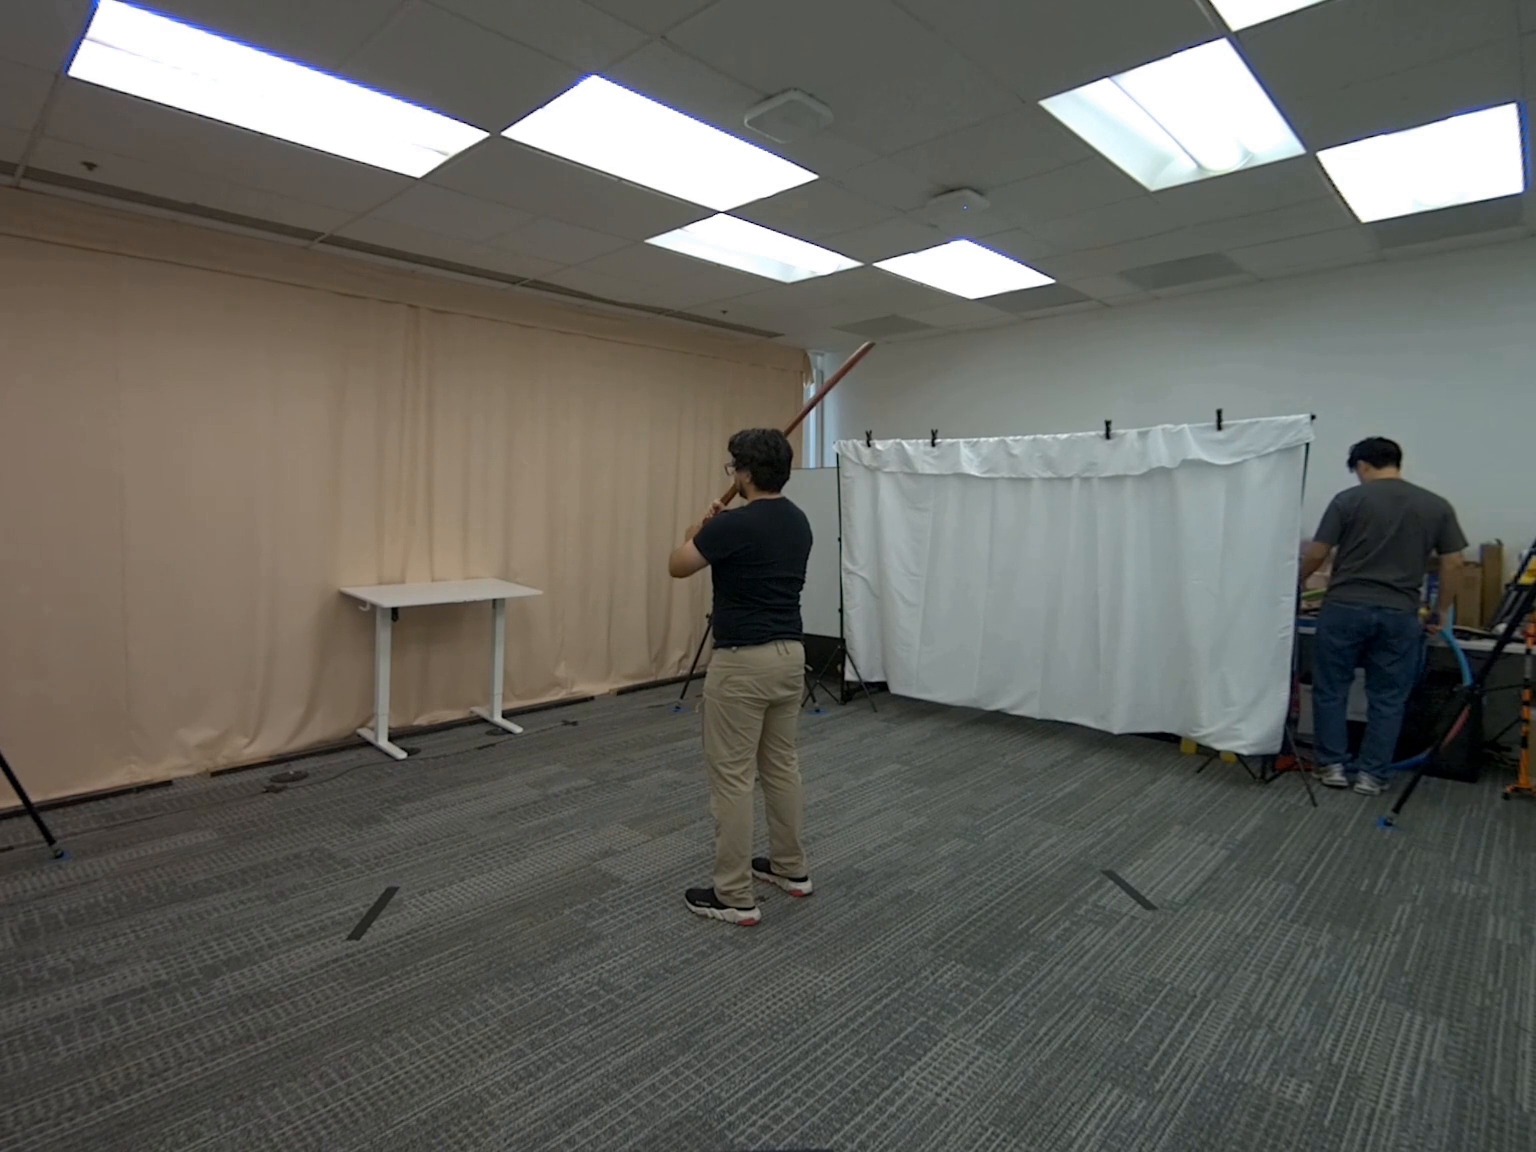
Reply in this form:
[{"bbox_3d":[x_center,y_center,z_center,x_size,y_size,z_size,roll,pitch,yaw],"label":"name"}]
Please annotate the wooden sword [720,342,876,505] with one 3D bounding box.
[{"bbox_3d":[0.014,-0.468,3.104,1.030,0.053,0.023,-44,-34,19],"label":"wooden sword"}]
